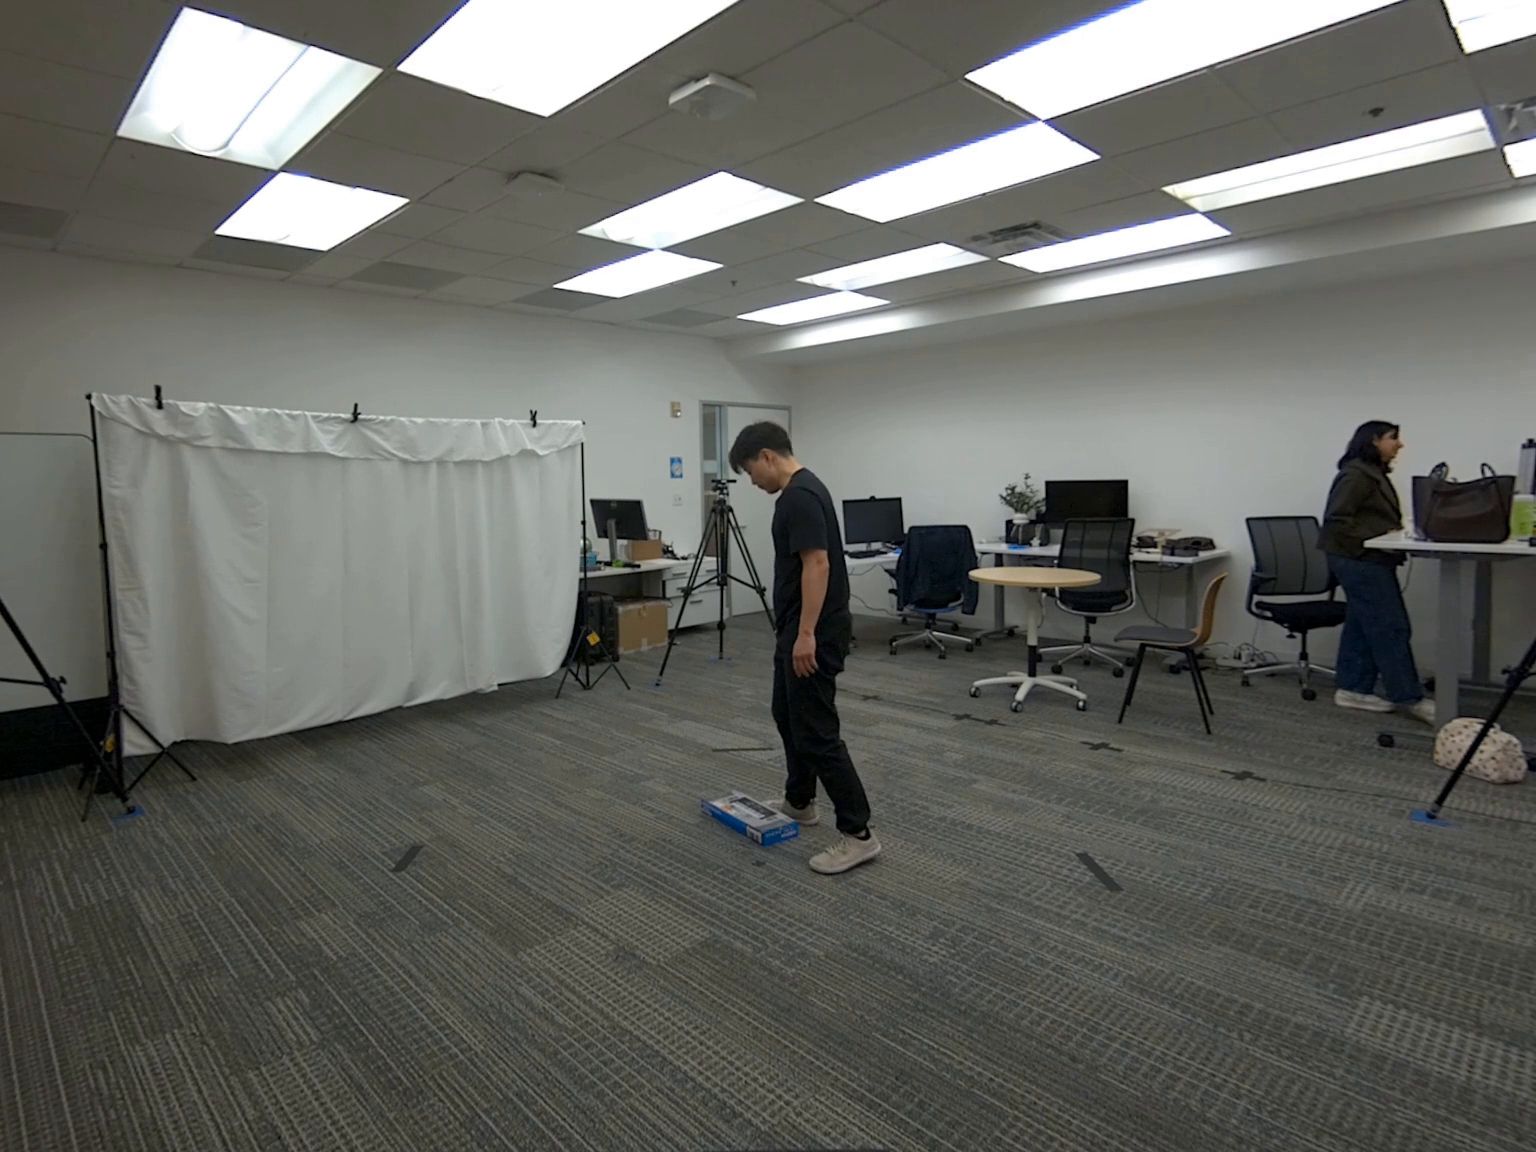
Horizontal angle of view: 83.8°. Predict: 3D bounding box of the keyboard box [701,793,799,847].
[{"bbox_3d":[-0.082,0.978,3.474,0.171,0.059,0.450,-6,8,-35],"label":"keyboard box"}]
